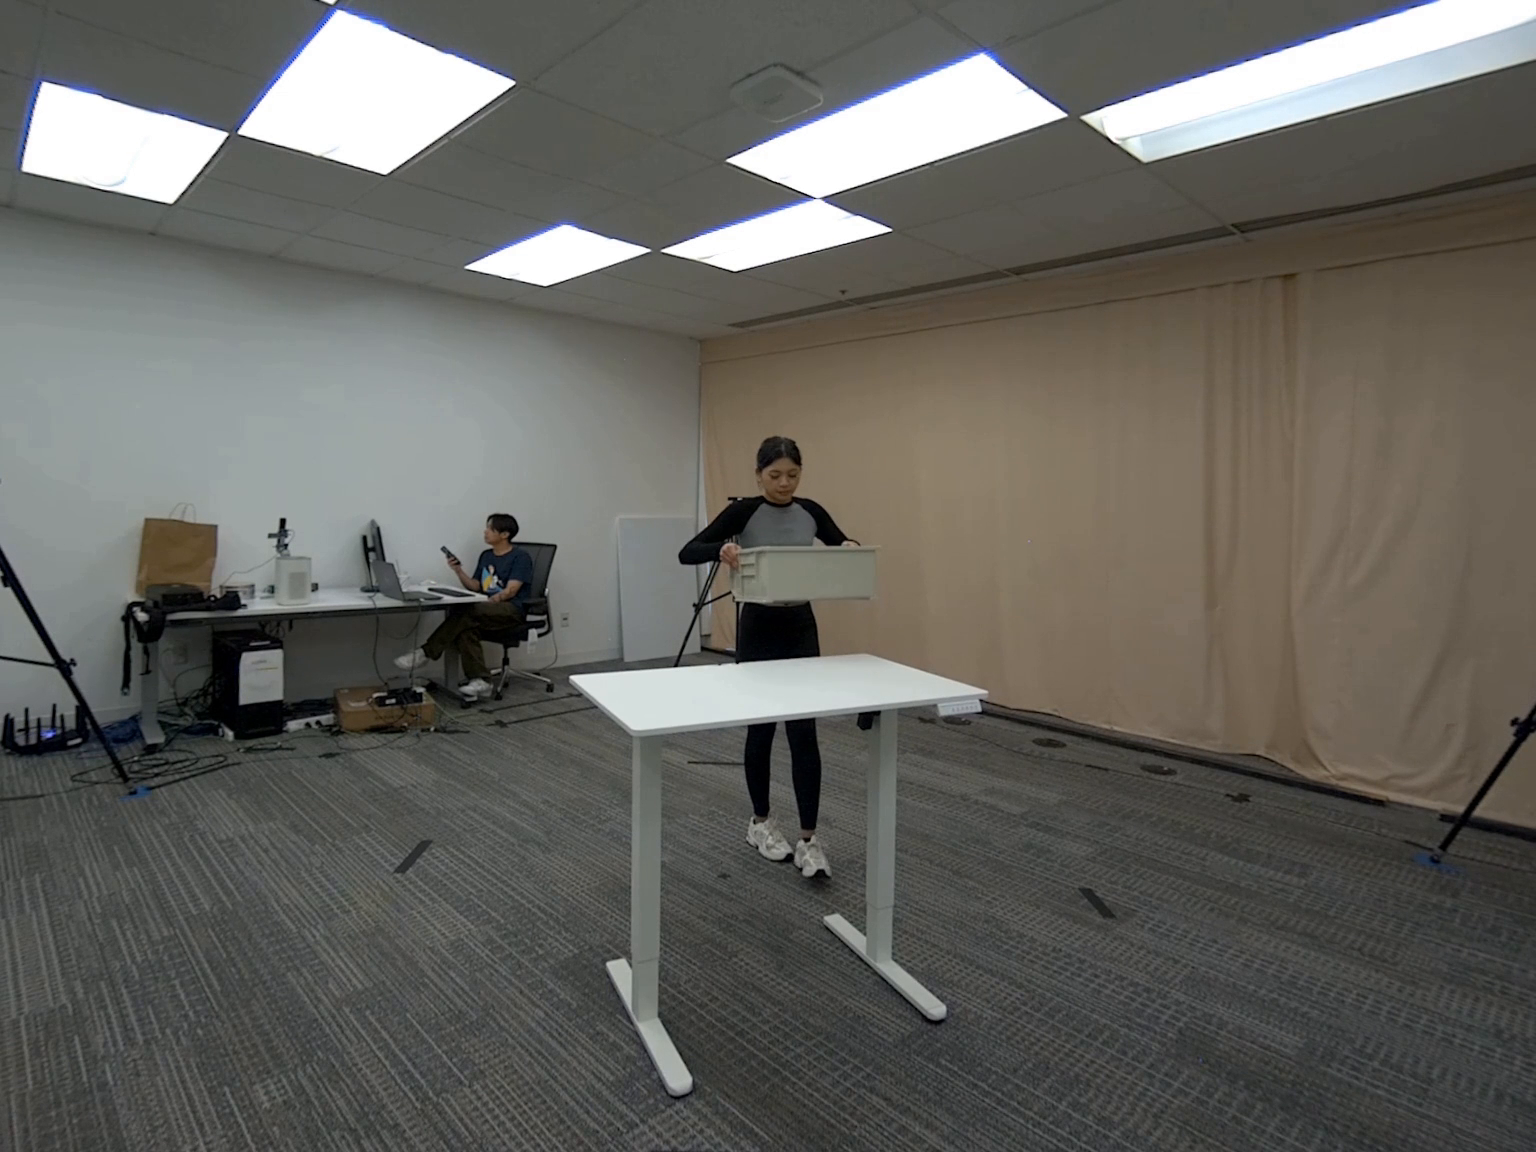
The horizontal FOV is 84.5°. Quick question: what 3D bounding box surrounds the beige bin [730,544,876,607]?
[{"bbox_3d":[0.107,0.007,2.924,0.416,0.188,0.383,-2,4,-19],"label":"beige bin"}]
